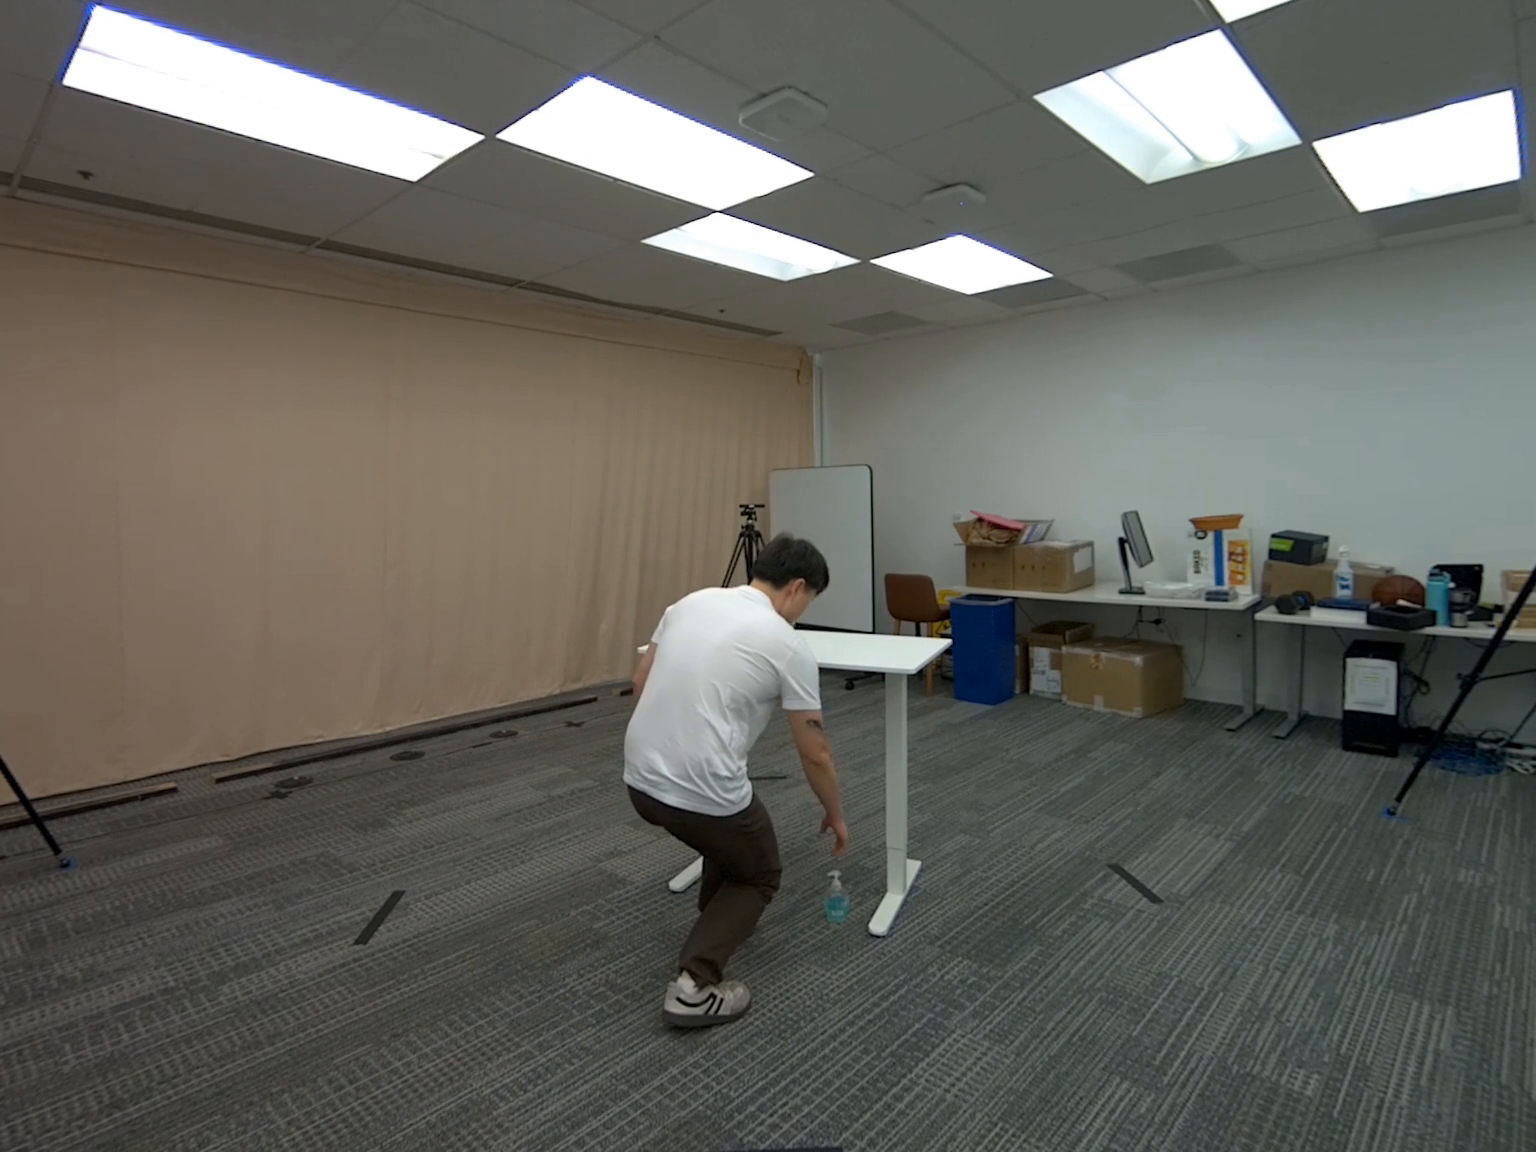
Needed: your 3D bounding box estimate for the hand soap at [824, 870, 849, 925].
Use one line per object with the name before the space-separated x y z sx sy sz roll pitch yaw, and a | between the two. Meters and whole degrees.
hand soap | 0.231 1.071 2.803 0.084 0.168 0.043 -1 4 -3
